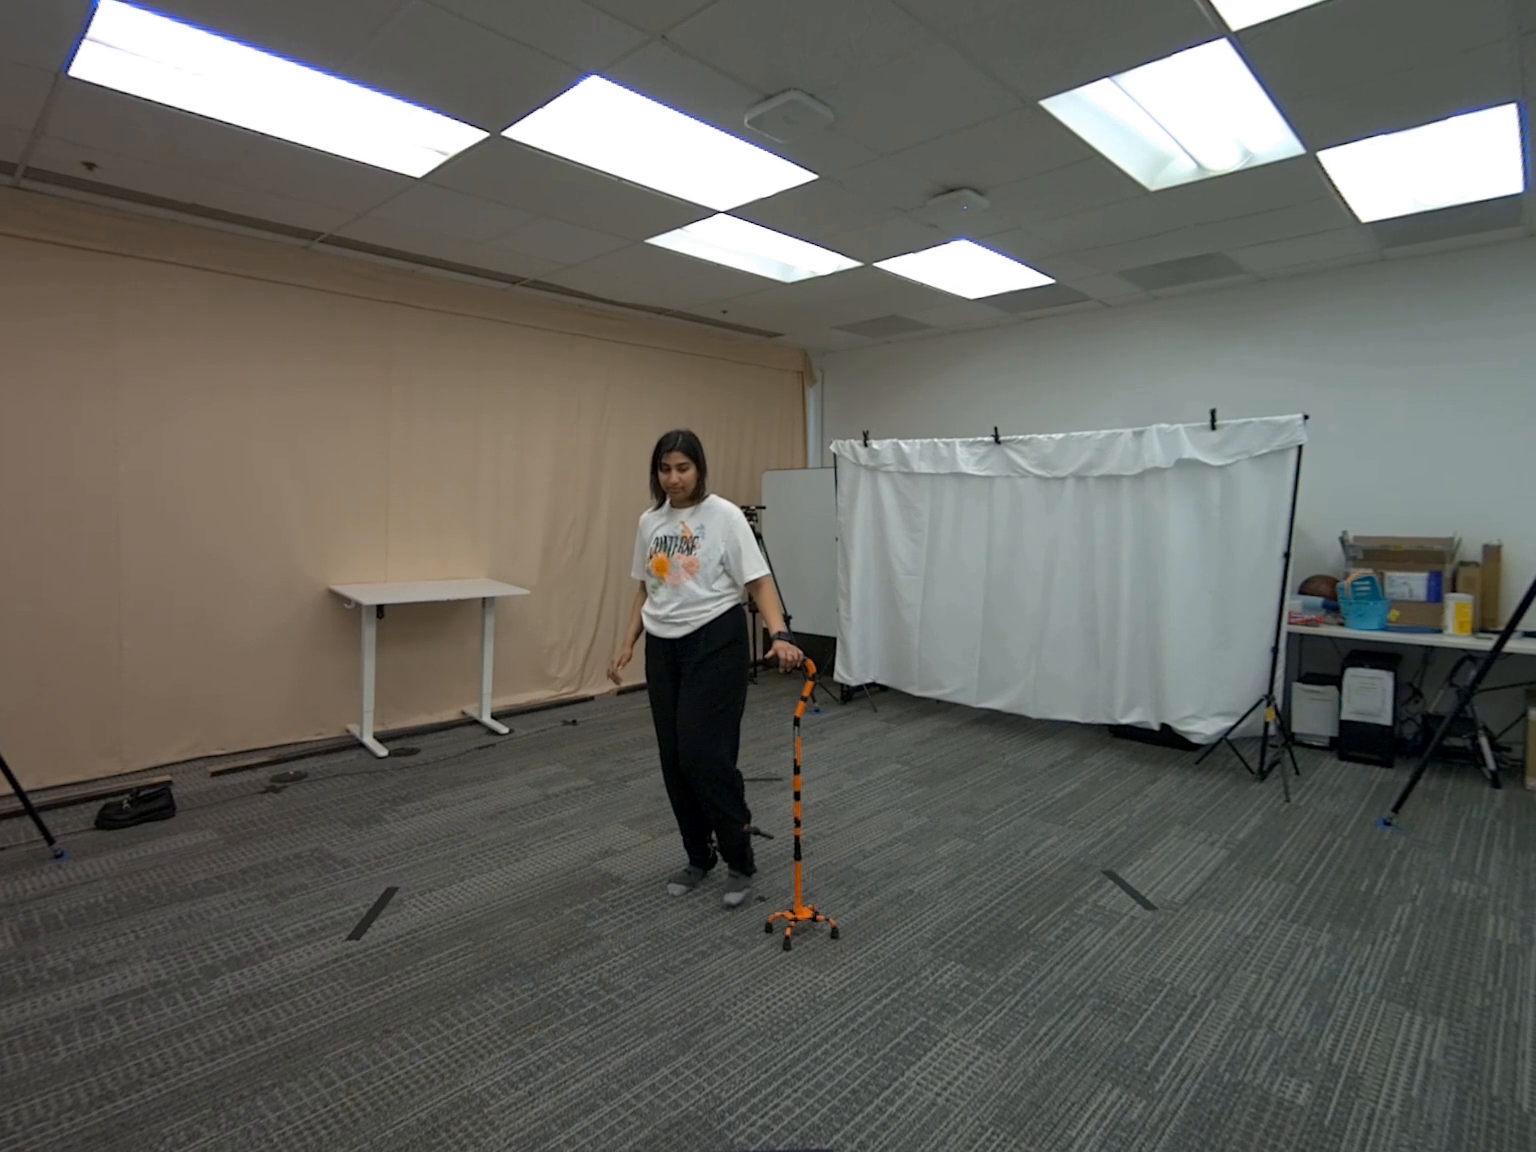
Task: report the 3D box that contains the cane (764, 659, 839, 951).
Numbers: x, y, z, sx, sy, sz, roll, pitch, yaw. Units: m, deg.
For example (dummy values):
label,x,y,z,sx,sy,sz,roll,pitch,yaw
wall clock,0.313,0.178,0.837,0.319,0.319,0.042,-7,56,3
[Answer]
label,x,y,z,sx,sy,sz,roll,pitch,yaw
cane,0.112,0.713,2.718,0.201,0.907,0.156,-1,2,-27
